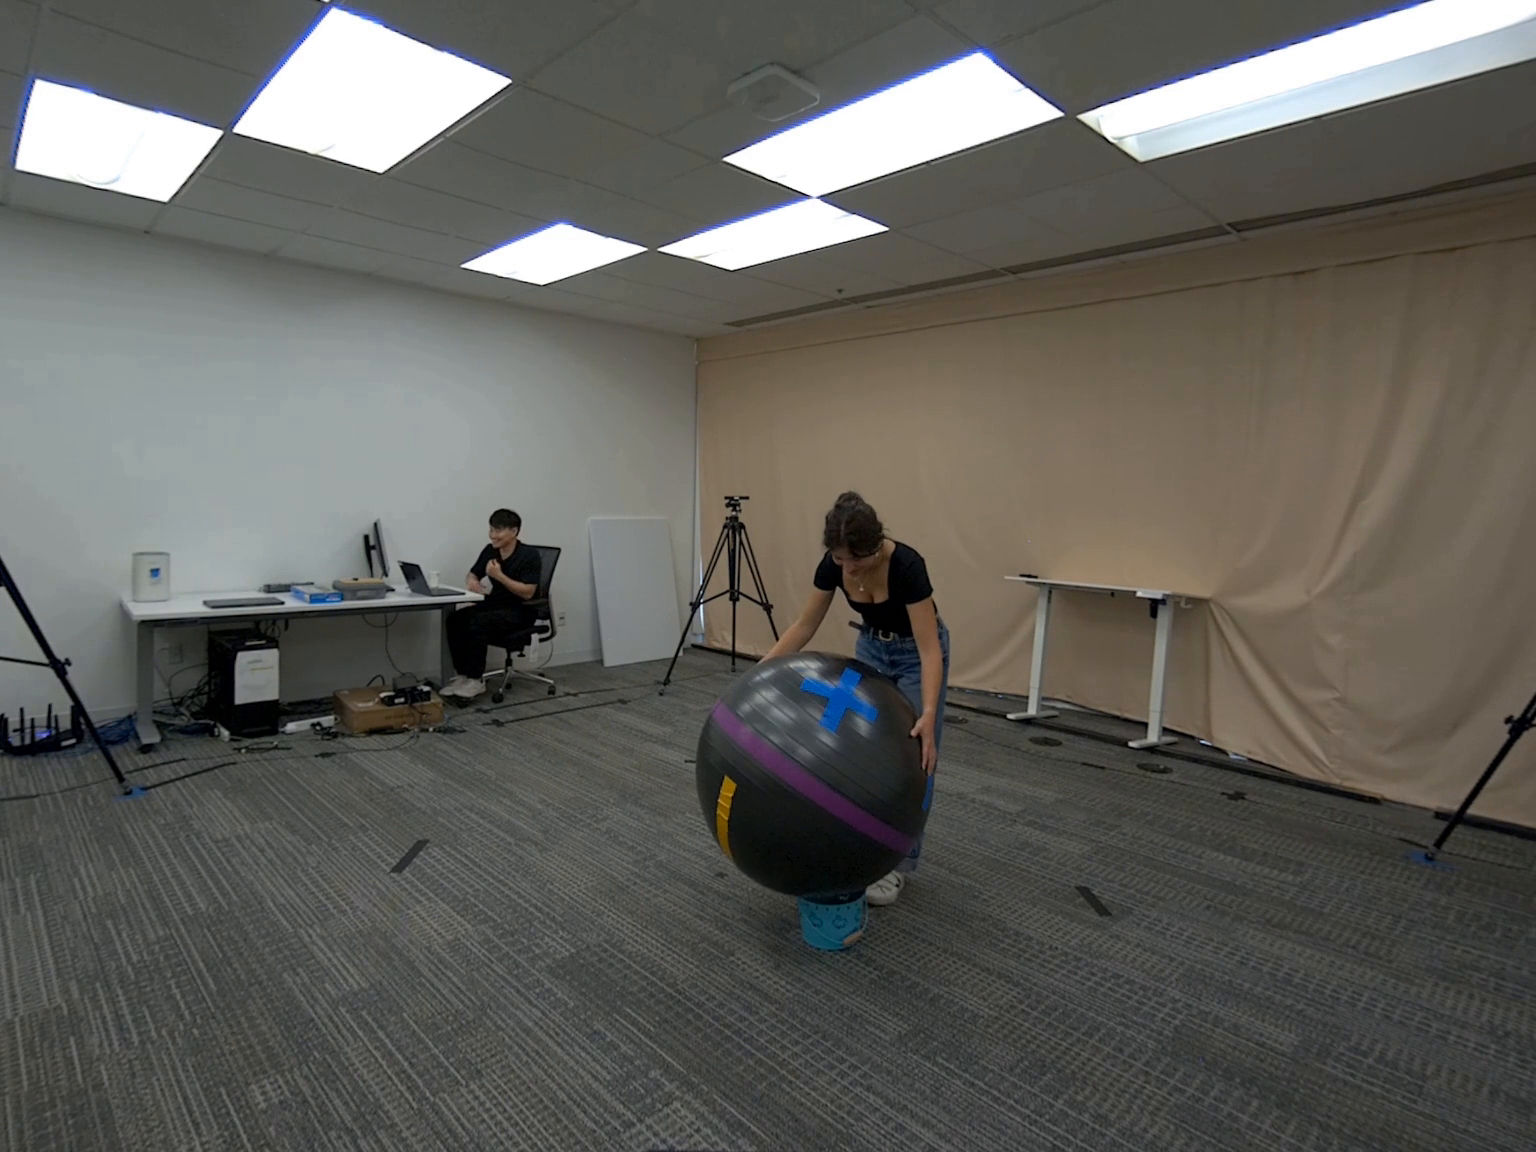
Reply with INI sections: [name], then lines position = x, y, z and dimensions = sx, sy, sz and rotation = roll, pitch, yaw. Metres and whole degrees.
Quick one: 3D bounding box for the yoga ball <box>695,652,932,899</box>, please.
[yoga ball]
position = 0.145, 0.631, 2.697
dimensions = 0.757, 0.756, 0.761
rotation = 1, 4, -1
